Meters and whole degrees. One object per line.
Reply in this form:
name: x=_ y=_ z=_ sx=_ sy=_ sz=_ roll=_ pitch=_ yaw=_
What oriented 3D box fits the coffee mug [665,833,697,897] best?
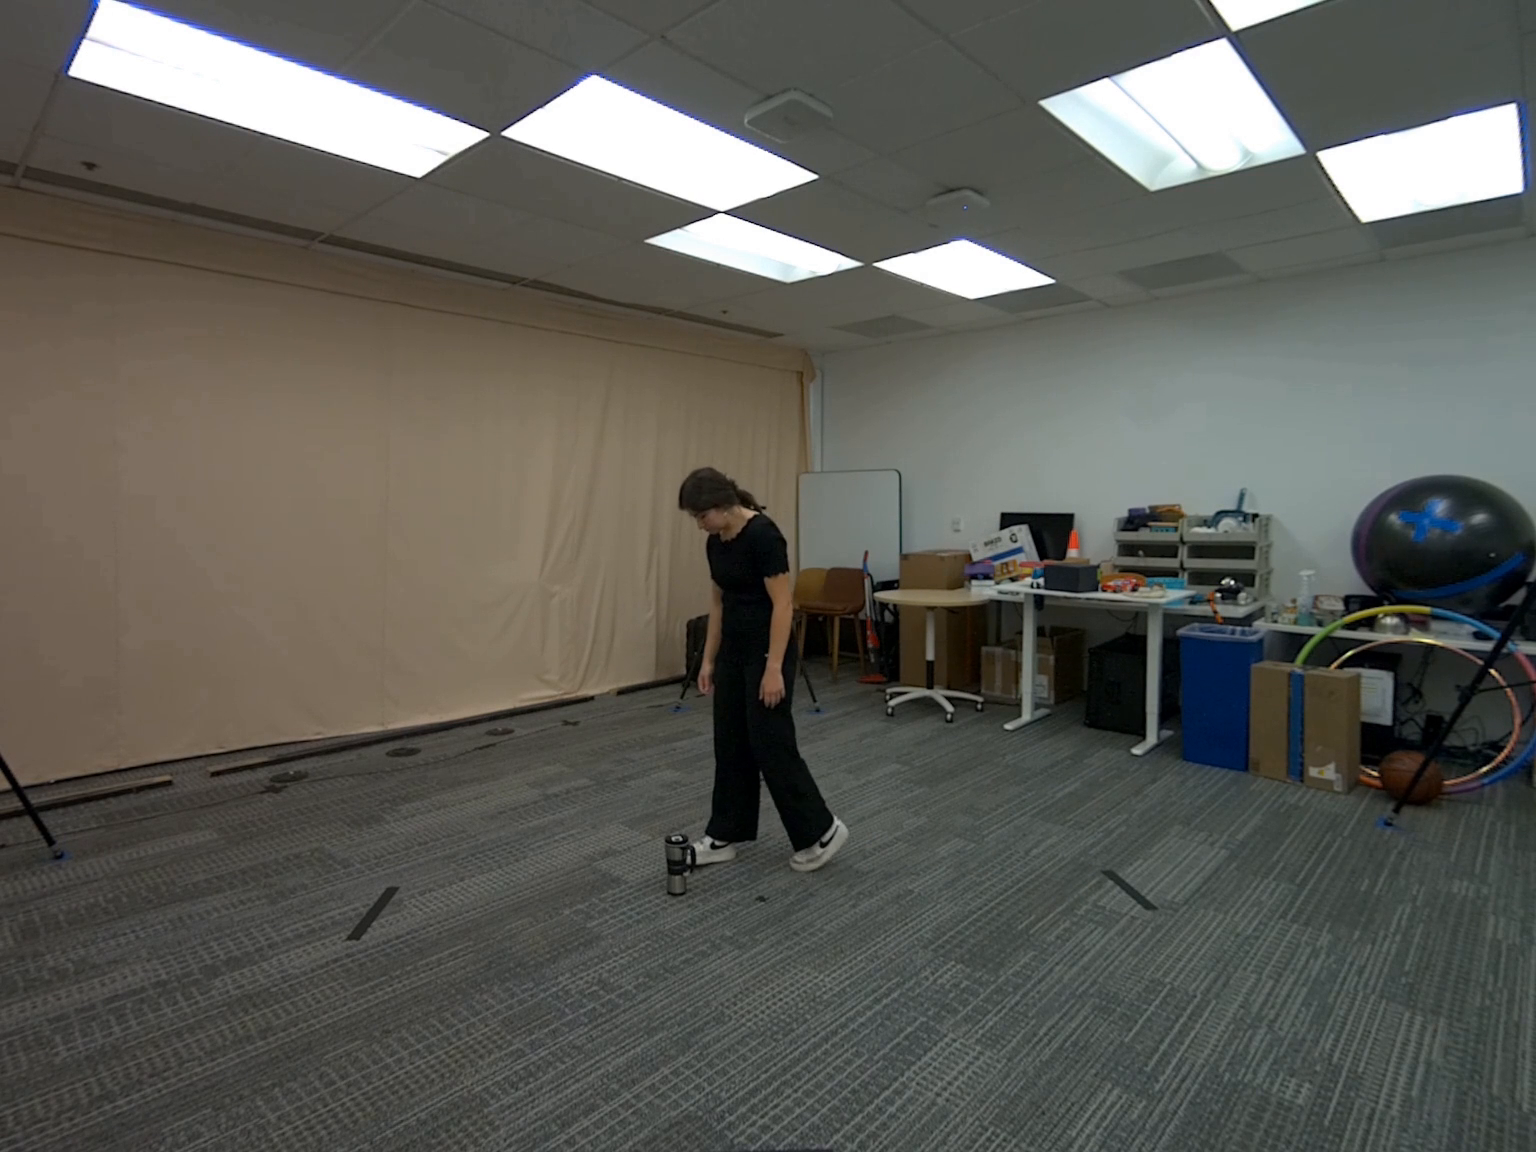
coffee mug: x=-0.315 y=1.044 z=3.012 sx=0.085 sy=0.203 sz=0.125 roll=1 pitch=0 yaw=-34
